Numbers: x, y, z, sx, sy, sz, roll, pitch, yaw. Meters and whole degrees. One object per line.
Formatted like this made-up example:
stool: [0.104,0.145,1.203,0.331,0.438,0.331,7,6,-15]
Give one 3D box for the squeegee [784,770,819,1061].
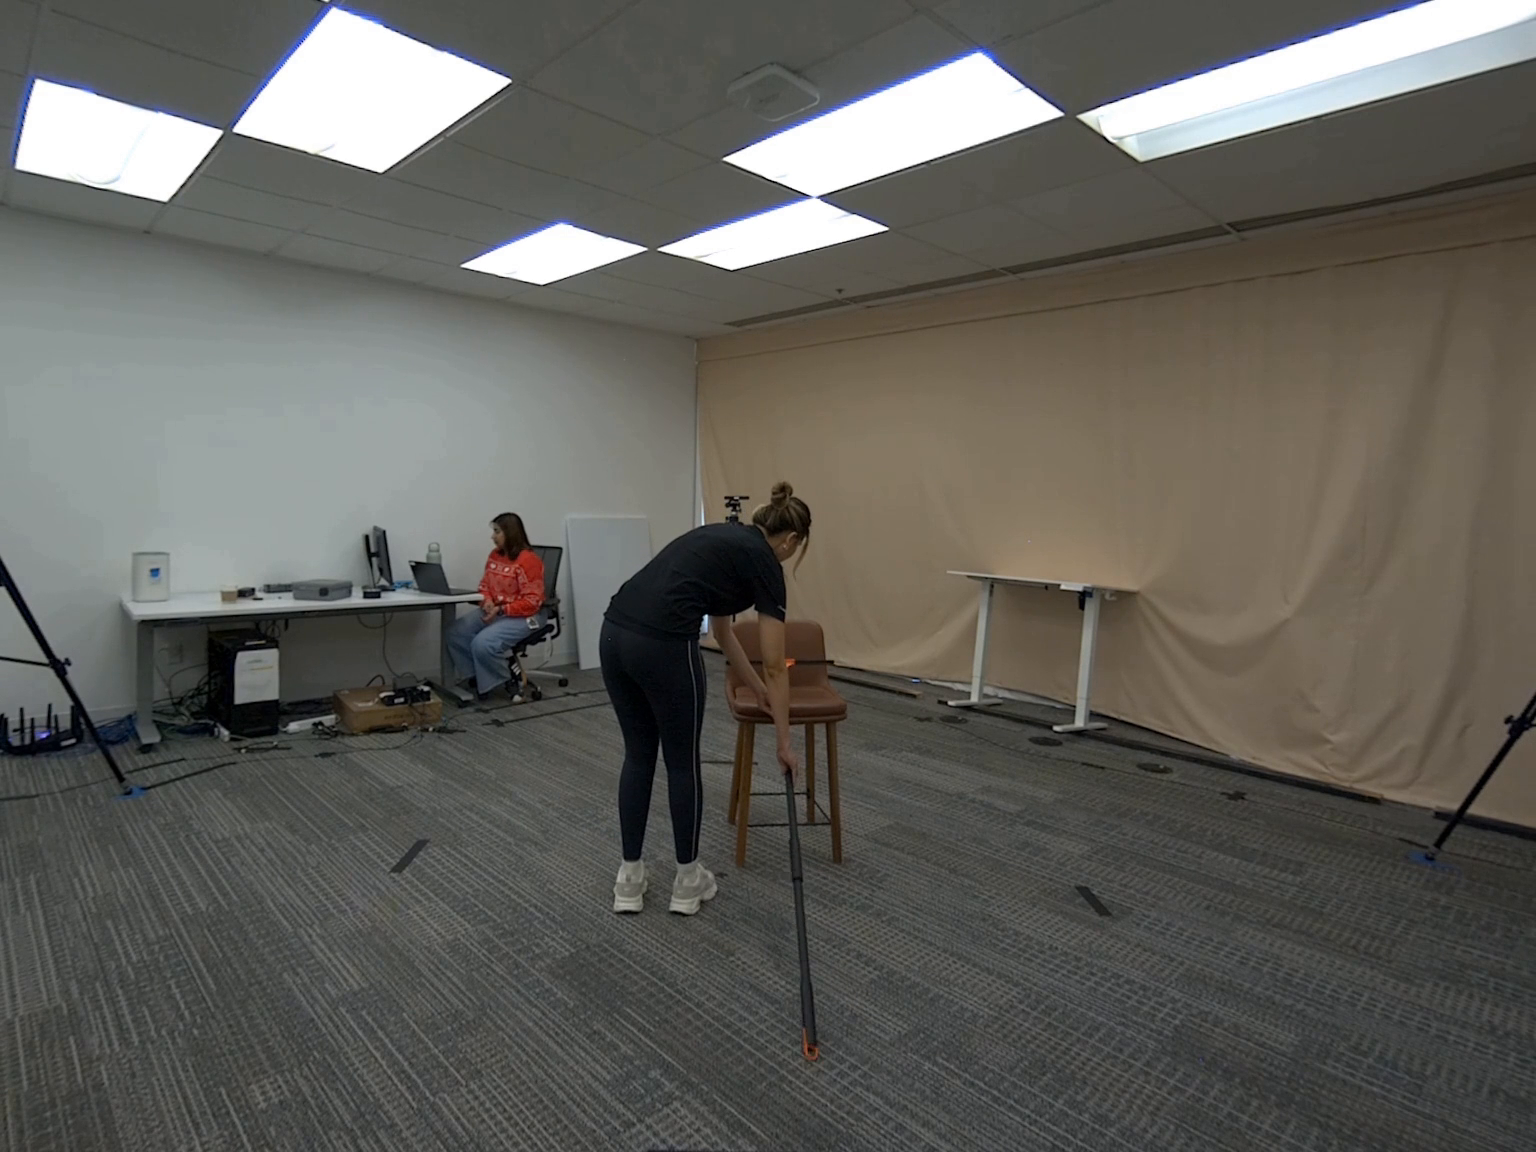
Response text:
squeegee: [0.079,0.771,2.743,0.052,0.434,1.571,19,30,-16]
